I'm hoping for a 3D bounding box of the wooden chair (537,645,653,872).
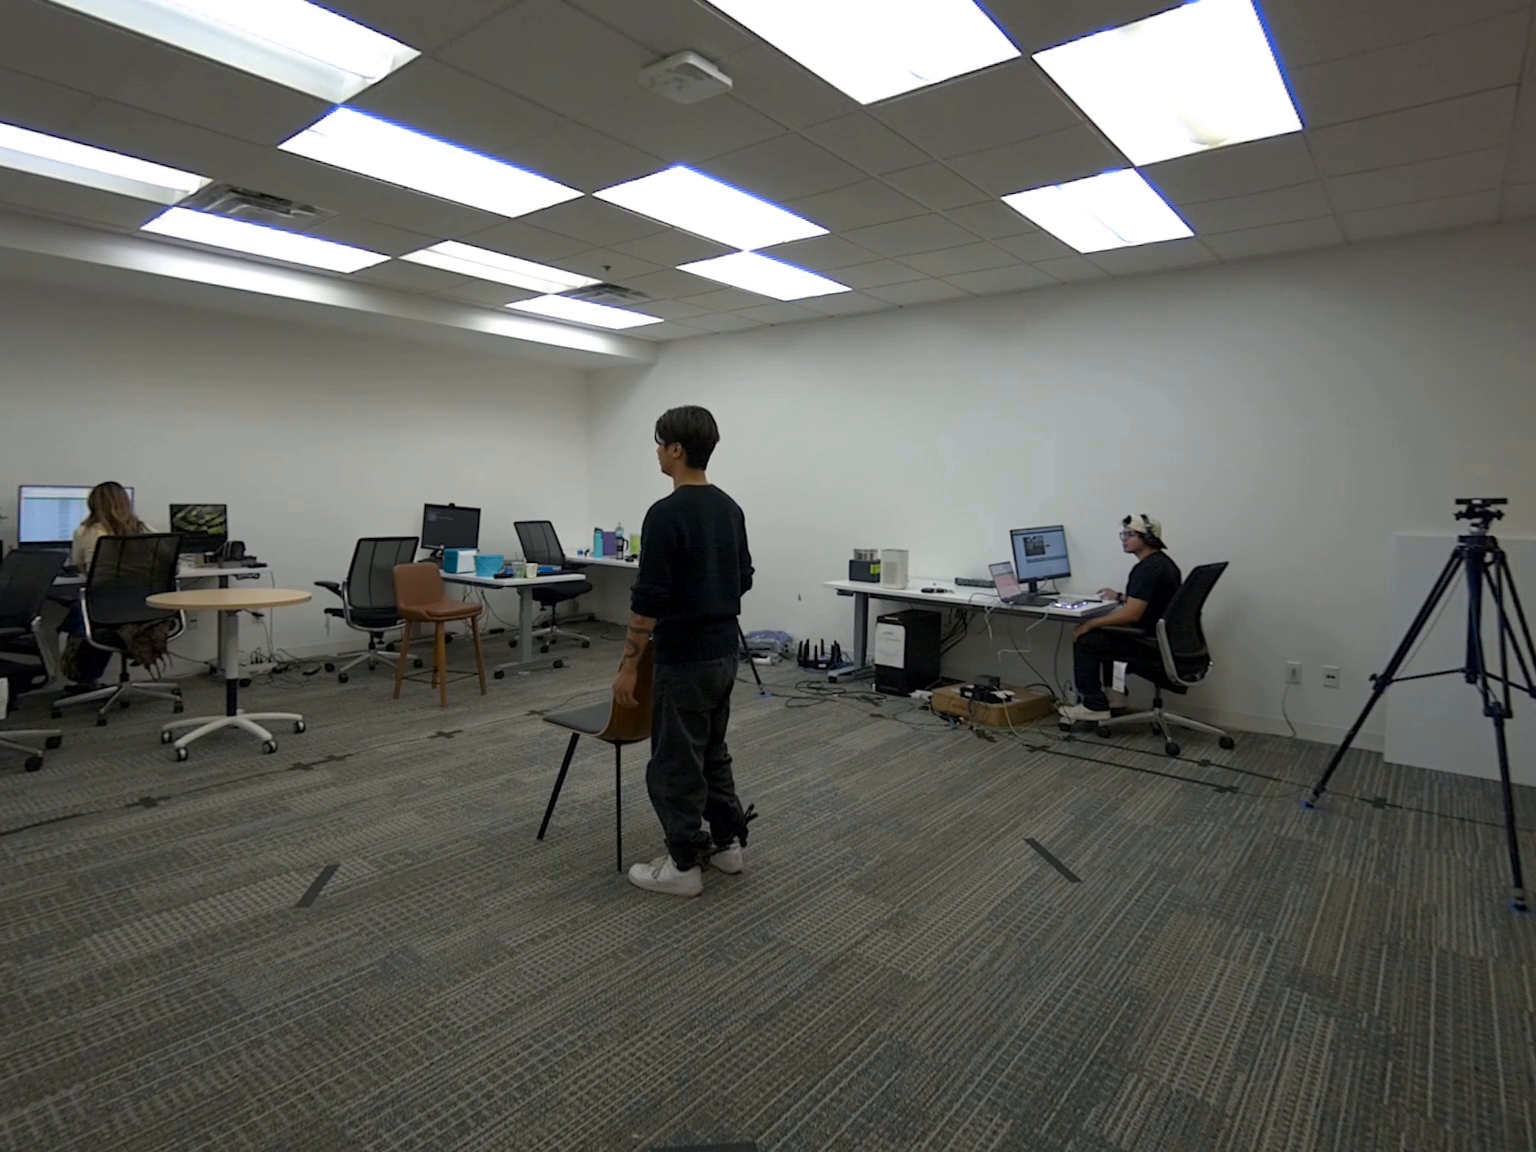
[{"bbox_3d":[-0.604,0.611,3.360,0.541,0.873,0.464,10,7,36],"label":"wooden chair"}]
